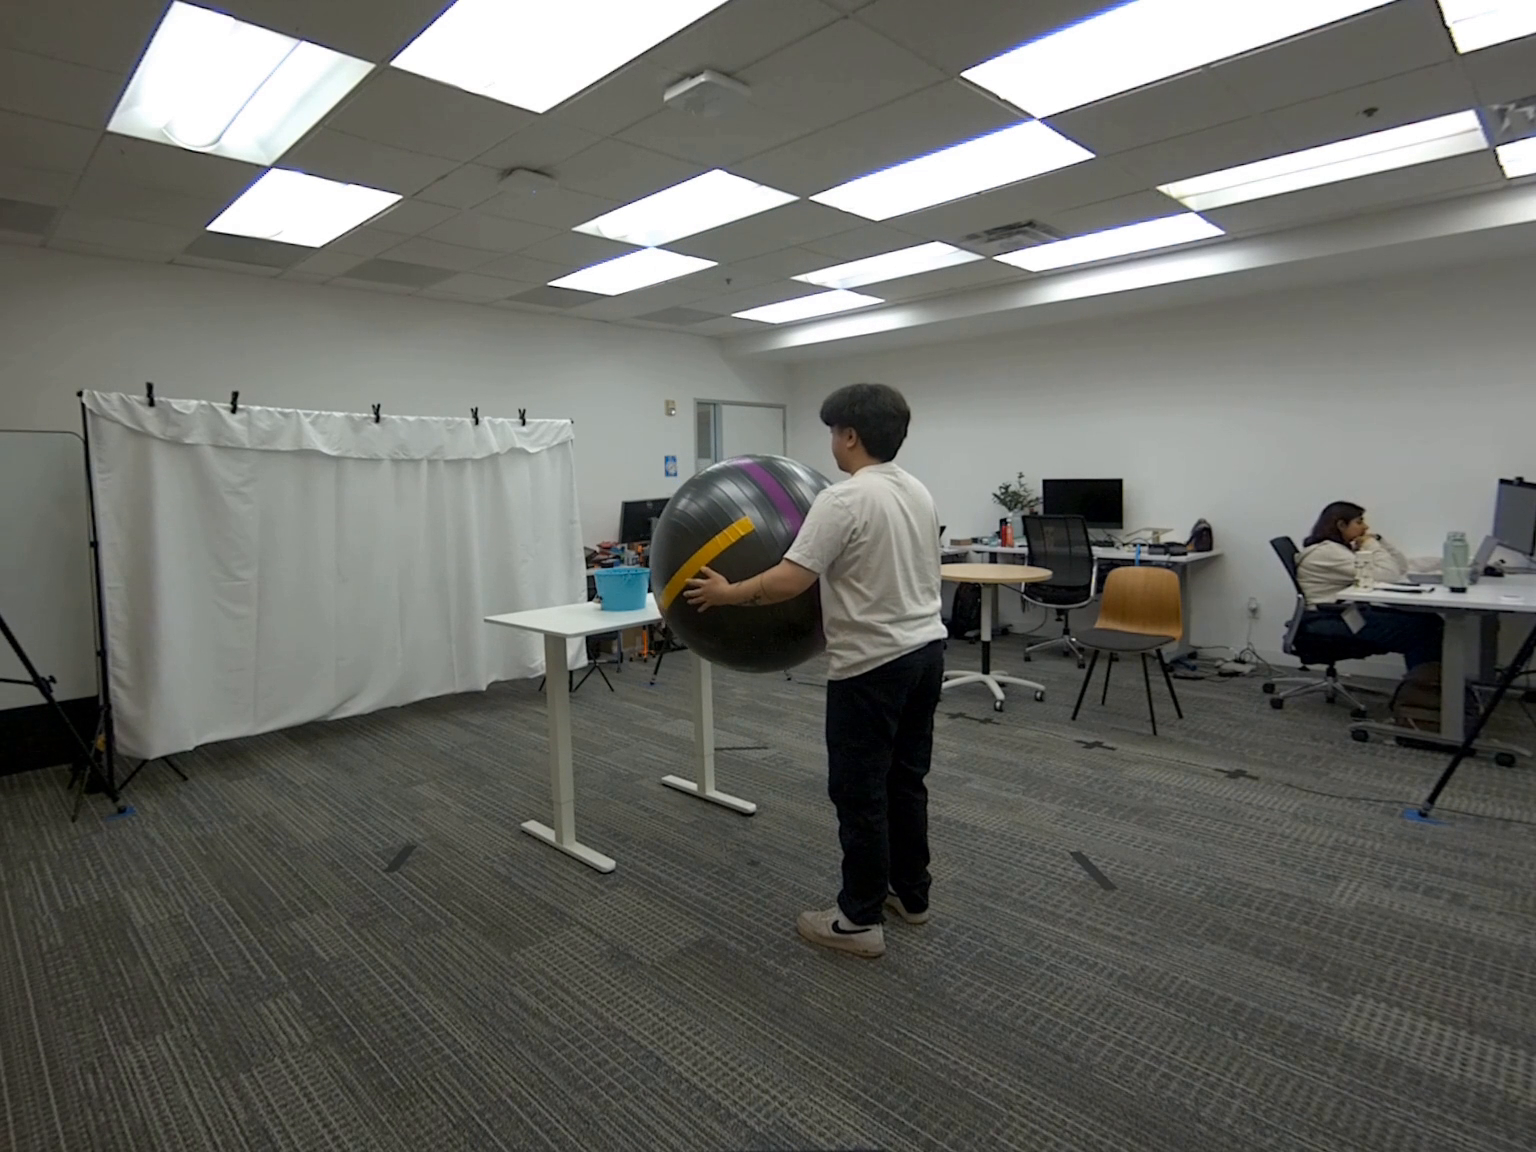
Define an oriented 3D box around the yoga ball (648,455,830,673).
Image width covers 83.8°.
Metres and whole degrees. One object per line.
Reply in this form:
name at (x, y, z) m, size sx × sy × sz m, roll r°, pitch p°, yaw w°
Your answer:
yoga ball at (-0.033, -0.041, 2.987) m, size 0.757 × 0.755 × 0.762 m, roll -1°, pitch 5°, yaw -2°
